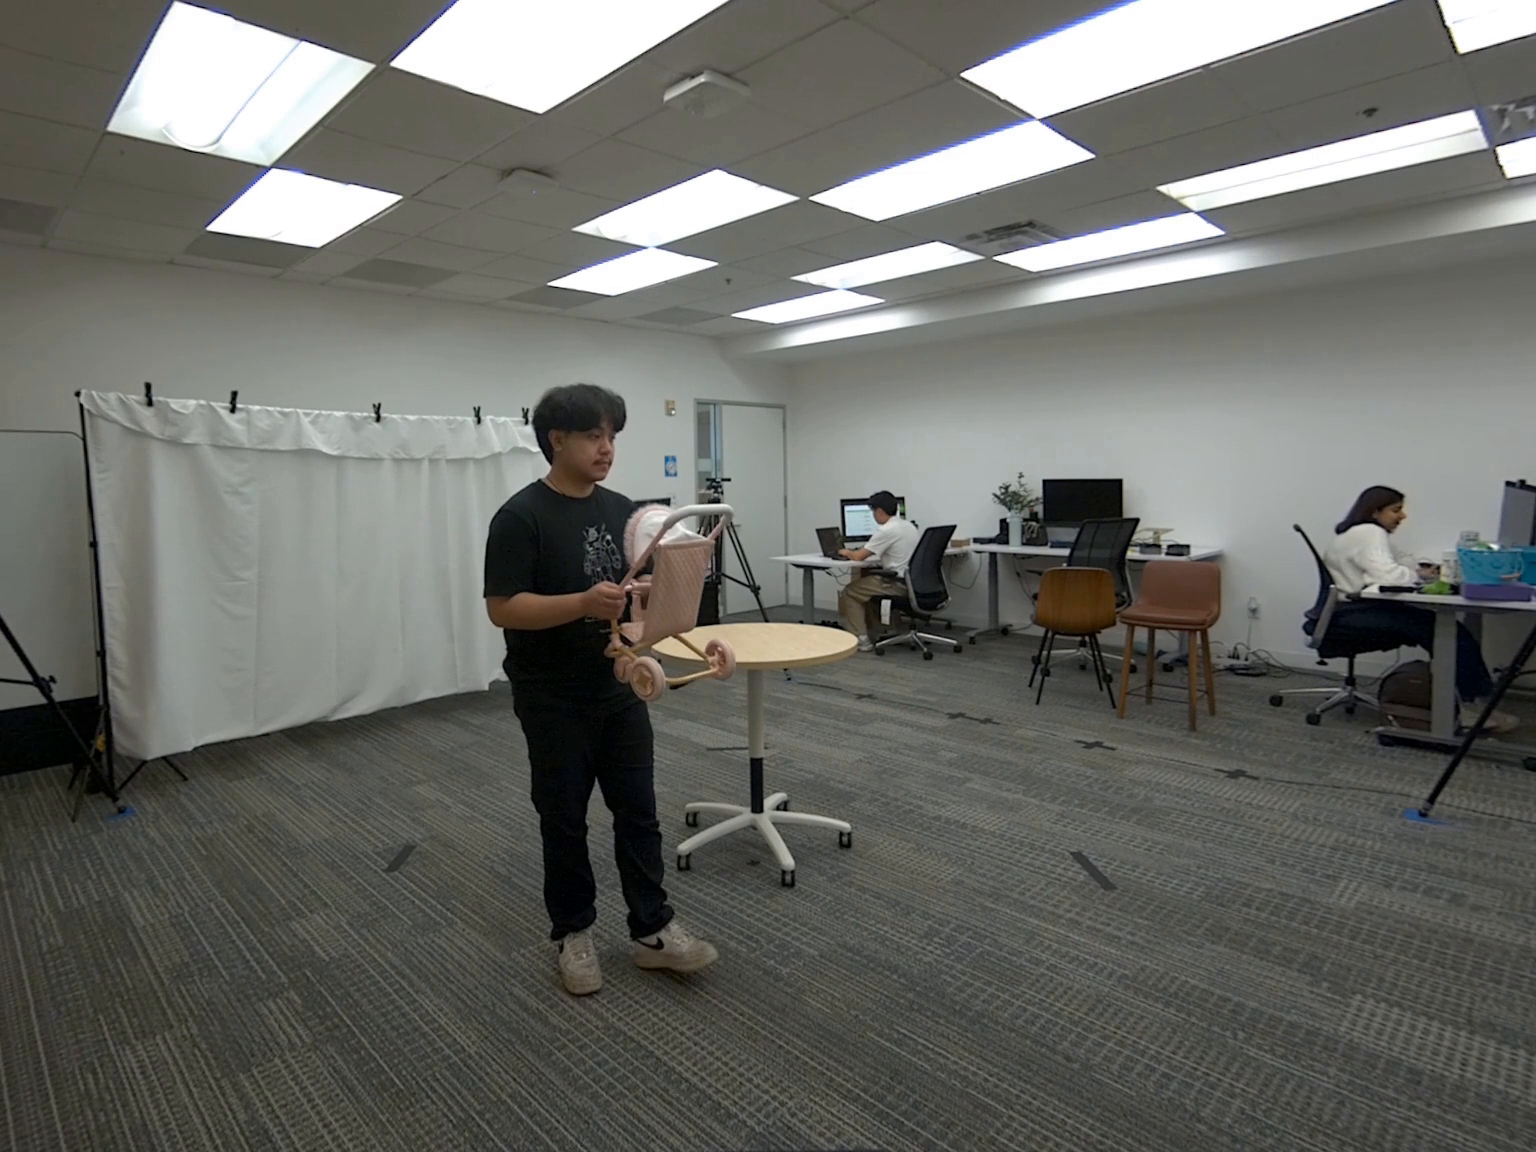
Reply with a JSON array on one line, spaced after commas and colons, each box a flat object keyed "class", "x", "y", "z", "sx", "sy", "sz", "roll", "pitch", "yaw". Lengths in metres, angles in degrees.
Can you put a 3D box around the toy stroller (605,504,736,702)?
[{"class": "toy stroller", "x": -0.271, "y": 0.060, "z": 2.186, "sx": 0.274, "sy": 0.530, "sz": 0.353, "roll": -6, "pitch": 15, "yaw": -41}]
